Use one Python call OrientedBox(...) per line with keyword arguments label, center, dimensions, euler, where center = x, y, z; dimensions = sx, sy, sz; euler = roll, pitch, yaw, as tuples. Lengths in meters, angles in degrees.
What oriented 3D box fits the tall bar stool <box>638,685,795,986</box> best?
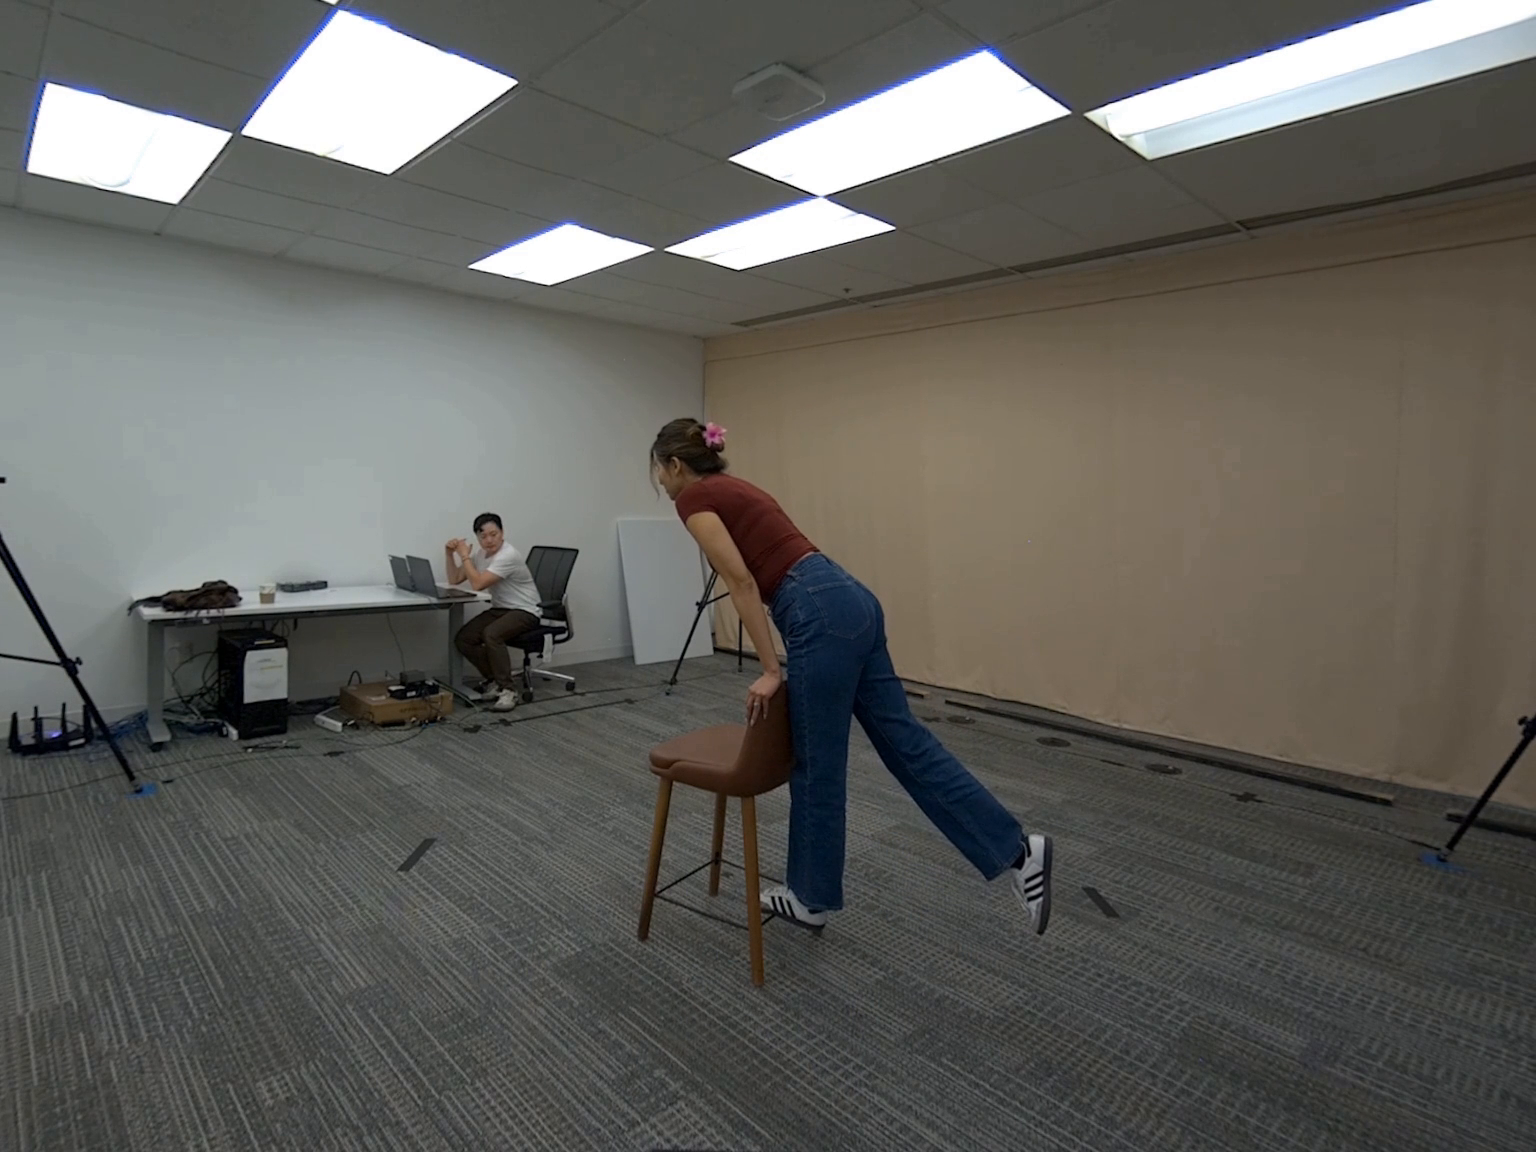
OrientedBox(label="tall bar stool", center=(-0.100, 0.710, 2.641), dimensions=(0.479, 0.886, 0.447), euler=(6, 6, 34))
